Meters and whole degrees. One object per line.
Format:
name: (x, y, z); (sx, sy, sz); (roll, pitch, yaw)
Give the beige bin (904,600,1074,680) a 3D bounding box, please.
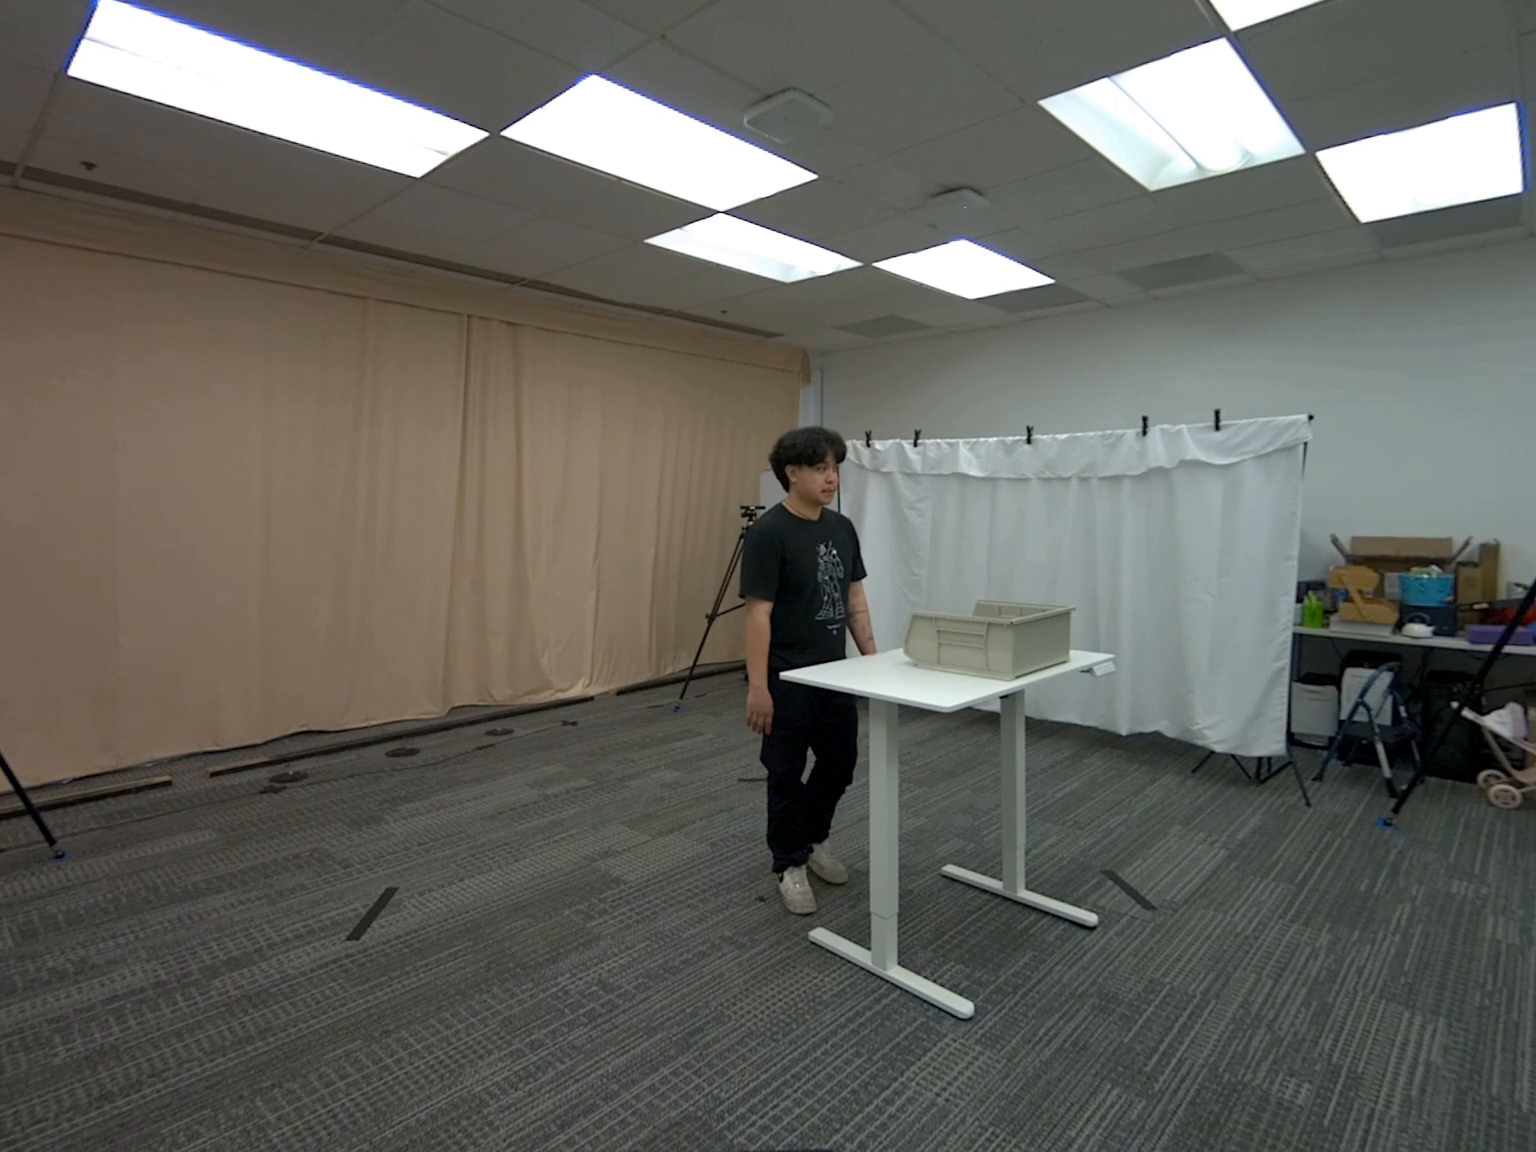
beige bin: (0.707, 0.196, 2.687); (0.409, 0.188, 0.390); (-5, 7, -45)
